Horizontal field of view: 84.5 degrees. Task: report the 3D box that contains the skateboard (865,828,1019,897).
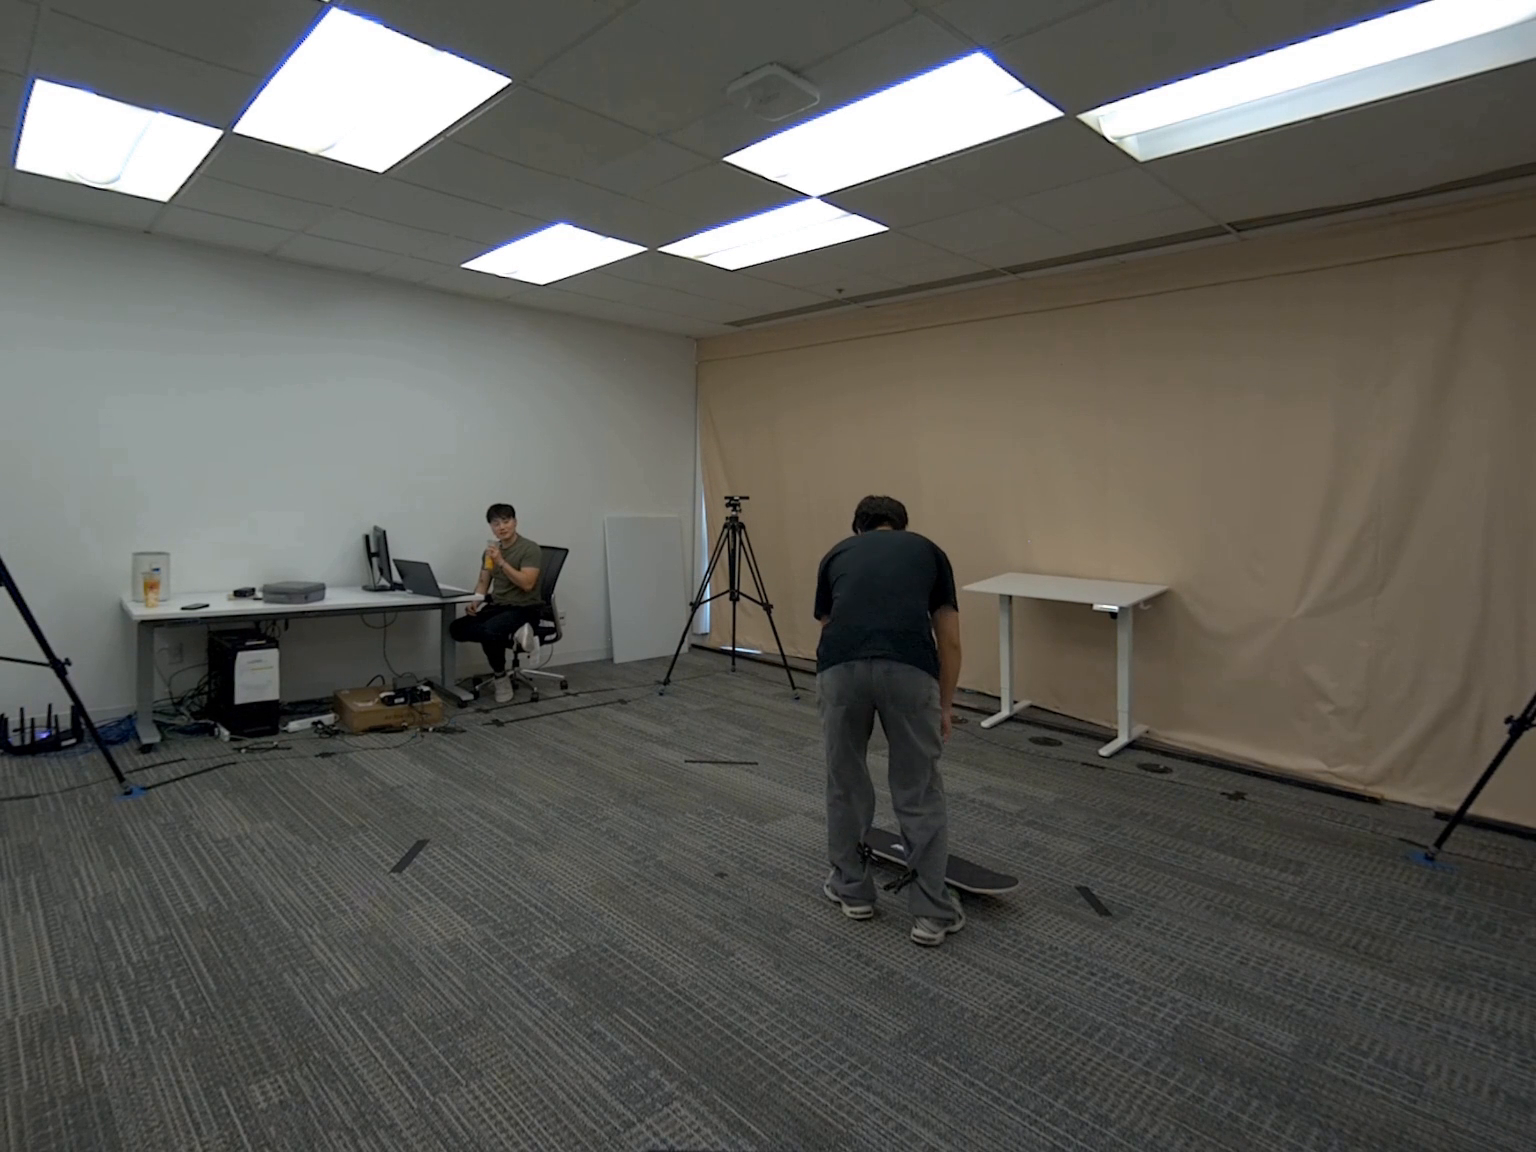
[{"bbox_3d":[0.547,1.066,3.122,0.189,0.110,0.806,-2,6,-44],"label":"skateboard"}]
